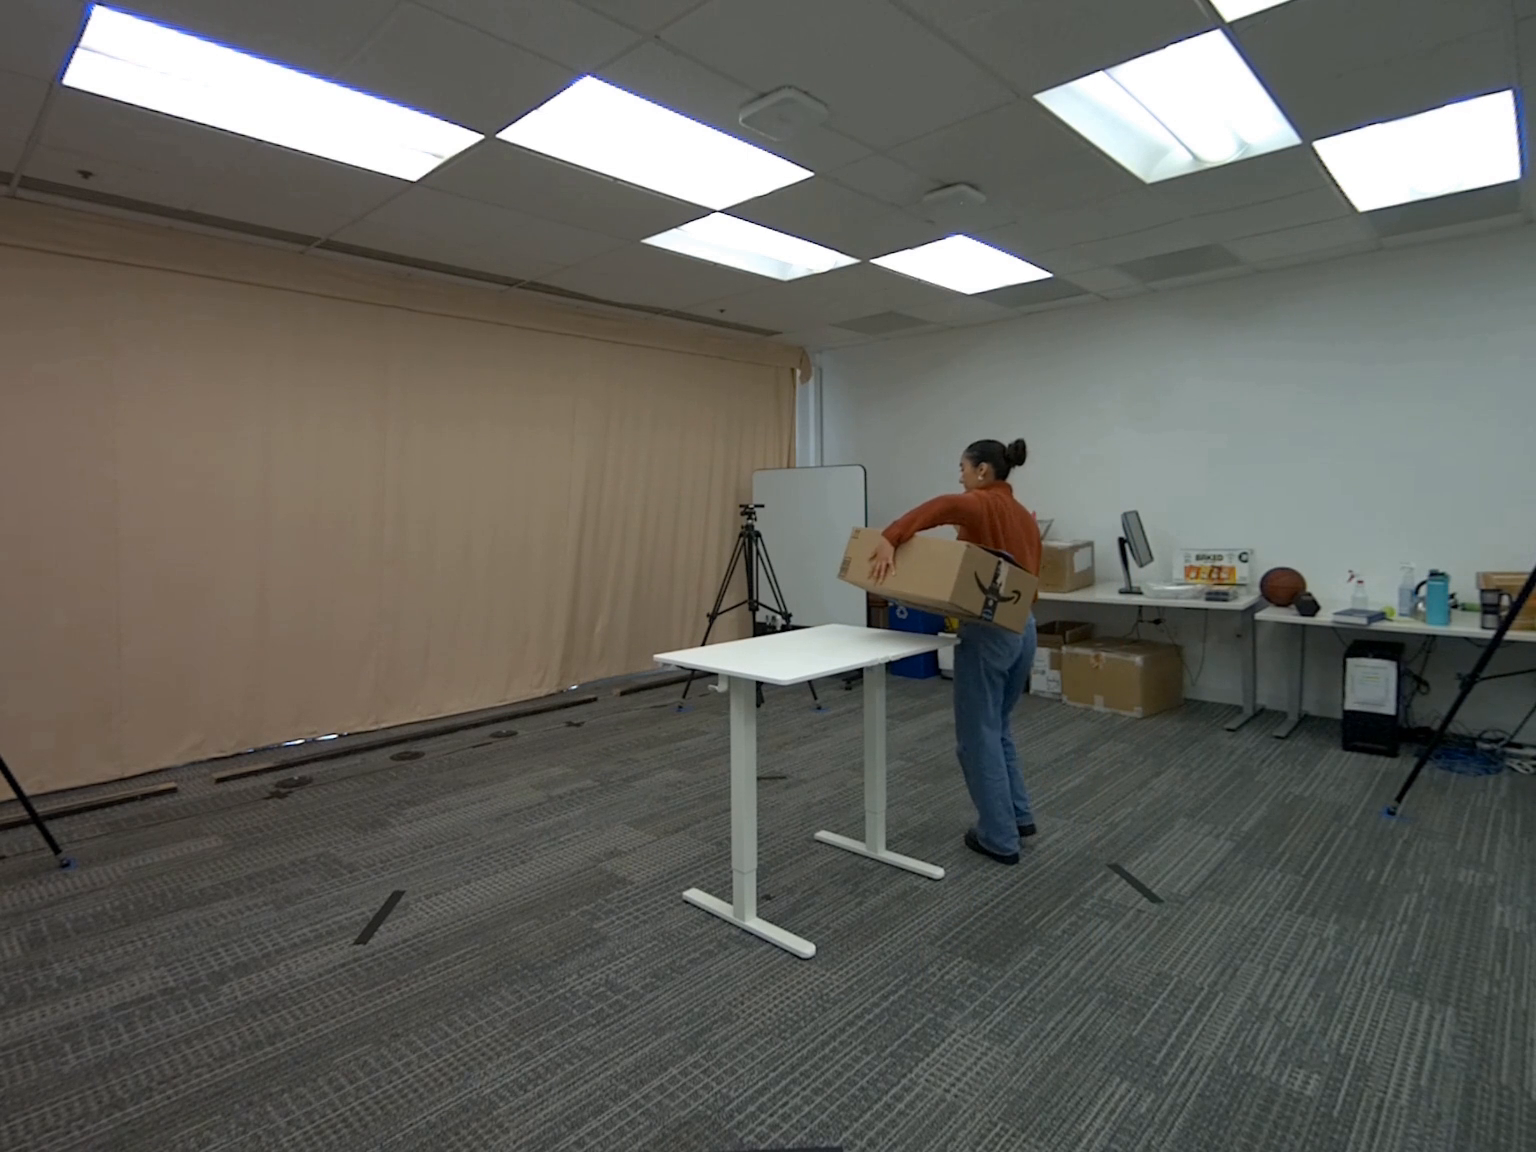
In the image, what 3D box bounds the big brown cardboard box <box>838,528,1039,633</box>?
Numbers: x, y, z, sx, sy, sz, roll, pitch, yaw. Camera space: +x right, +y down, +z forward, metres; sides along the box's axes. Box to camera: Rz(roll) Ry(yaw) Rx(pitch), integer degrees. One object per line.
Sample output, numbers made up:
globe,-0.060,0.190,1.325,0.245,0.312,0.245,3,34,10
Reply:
big brown cardboard box,0.620,0.006,3.137,0.403,0.233,0.609,21,-4,-35
